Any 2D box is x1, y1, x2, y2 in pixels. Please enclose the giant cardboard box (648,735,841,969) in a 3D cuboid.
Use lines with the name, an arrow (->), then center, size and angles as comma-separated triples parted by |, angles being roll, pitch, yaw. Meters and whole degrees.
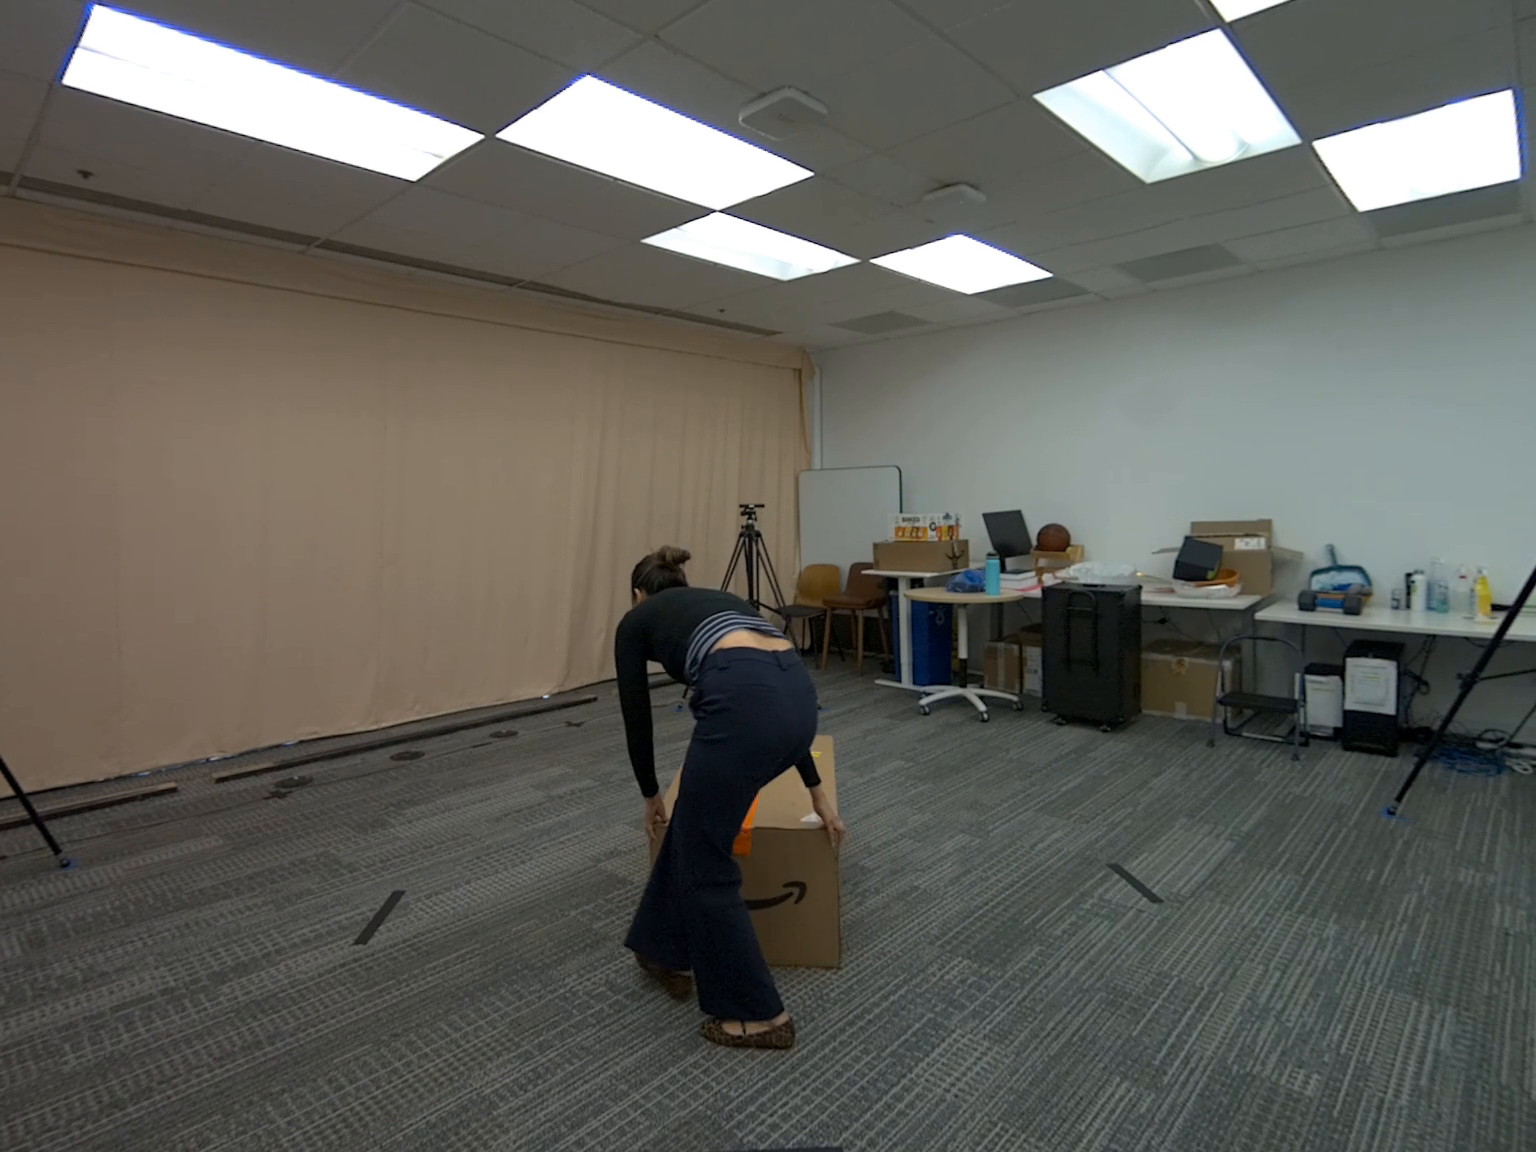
giant cardboard box -> -0.042, 0.919, 3.042 | 0.581, 0.425, 1.023 | 0, 5, 4
